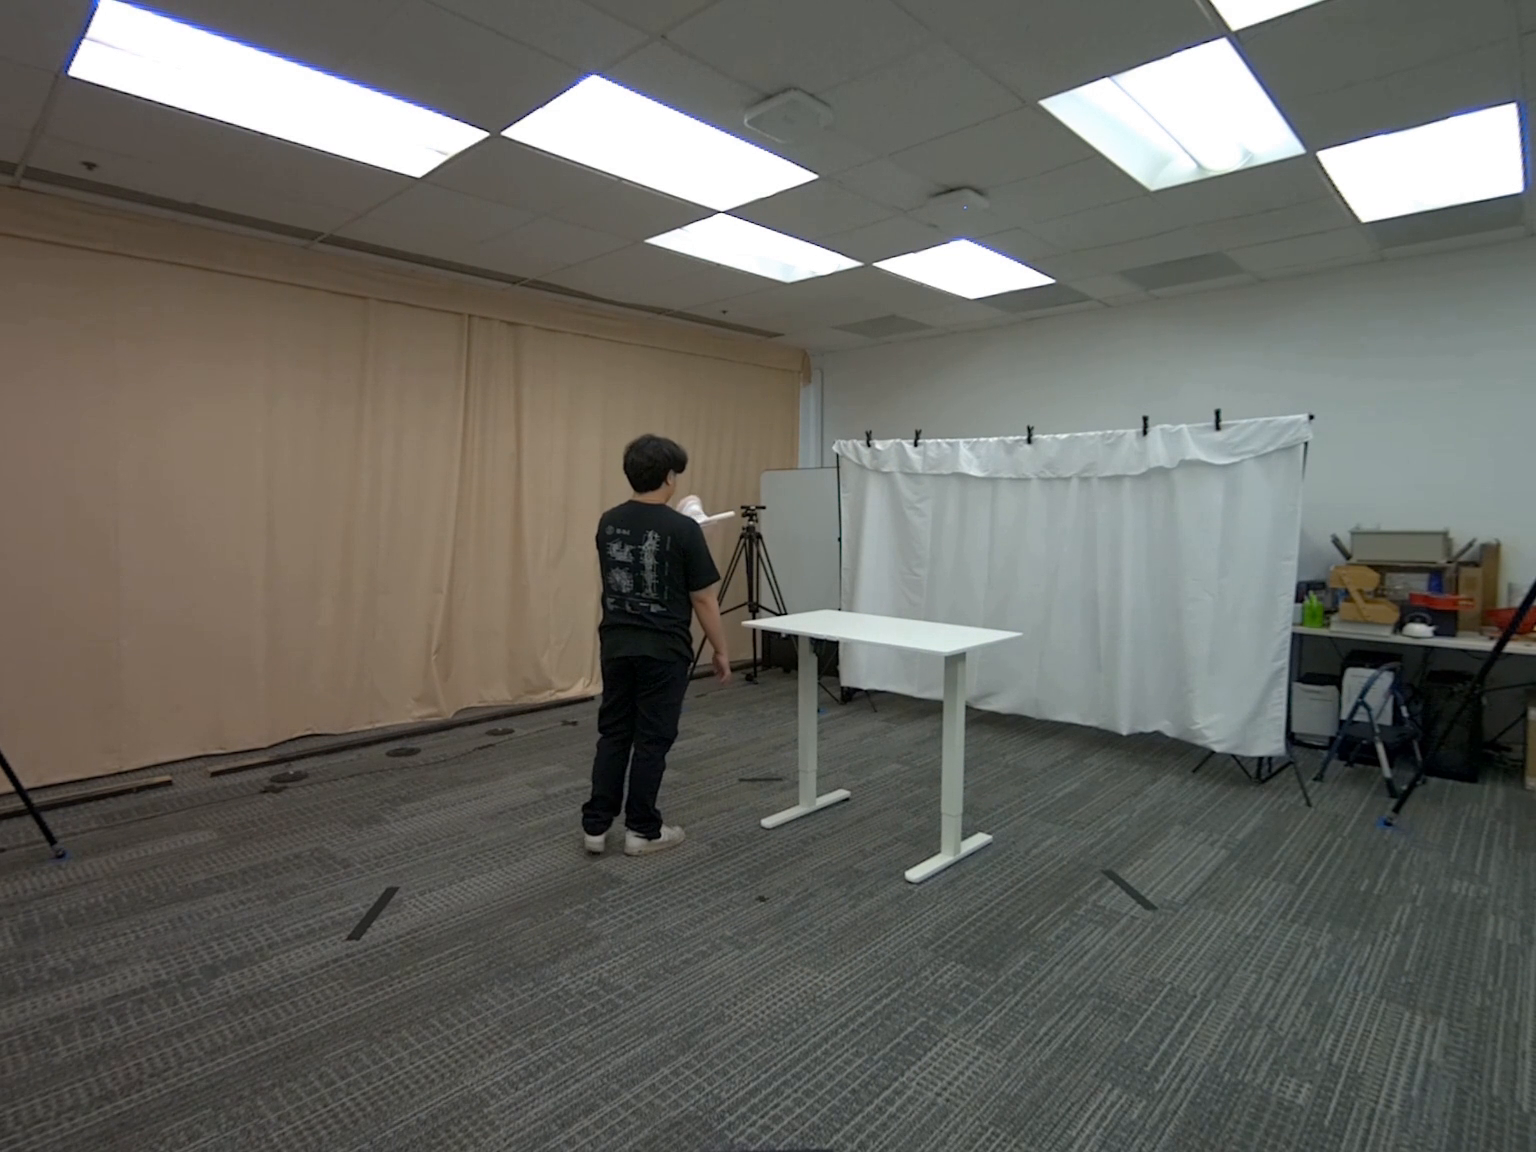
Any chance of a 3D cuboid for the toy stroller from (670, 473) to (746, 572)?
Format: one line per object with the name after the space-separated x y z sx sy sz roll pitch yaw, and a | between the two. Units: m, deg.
-0.414 -0.153 3.971 0.351 0.533 0.275 37 27 23 | toy stroller
